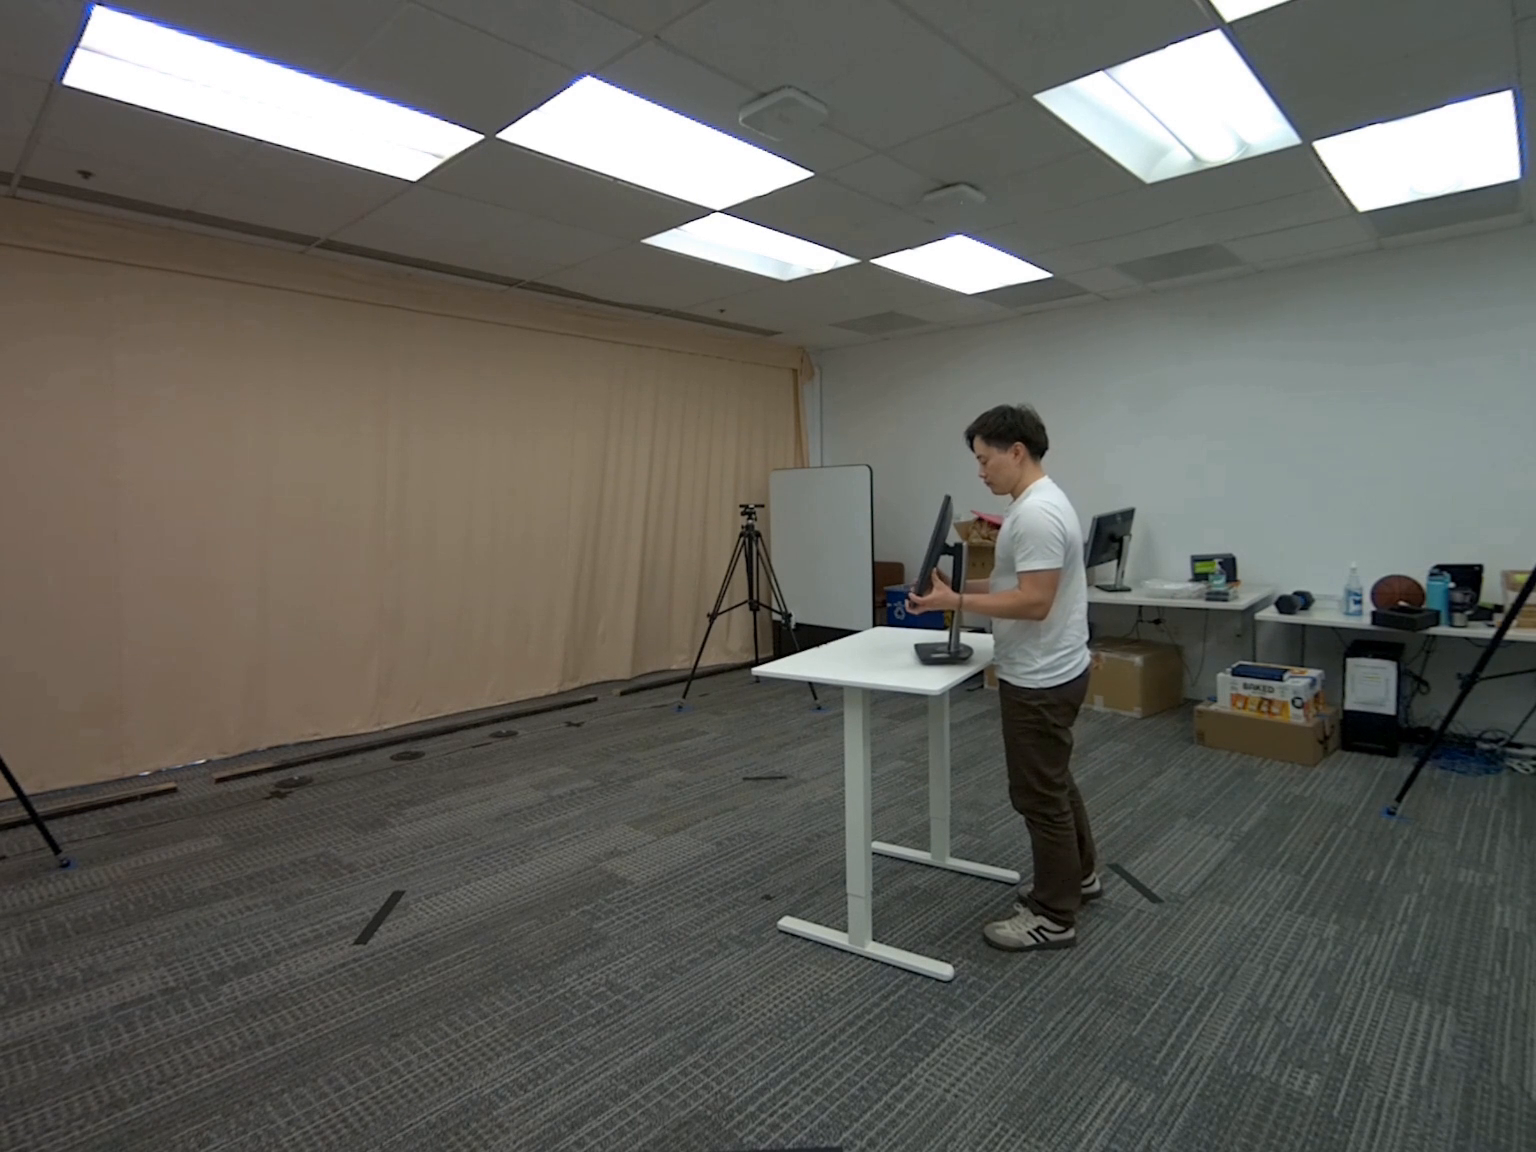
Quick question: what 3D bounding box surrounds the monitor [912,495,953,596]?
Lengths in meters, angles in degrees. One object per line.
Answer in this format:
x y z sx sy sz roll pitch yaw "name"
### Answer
0.576 -0.001 2.732 0.189 0.521 0.534 0 4 9 "monitor"
